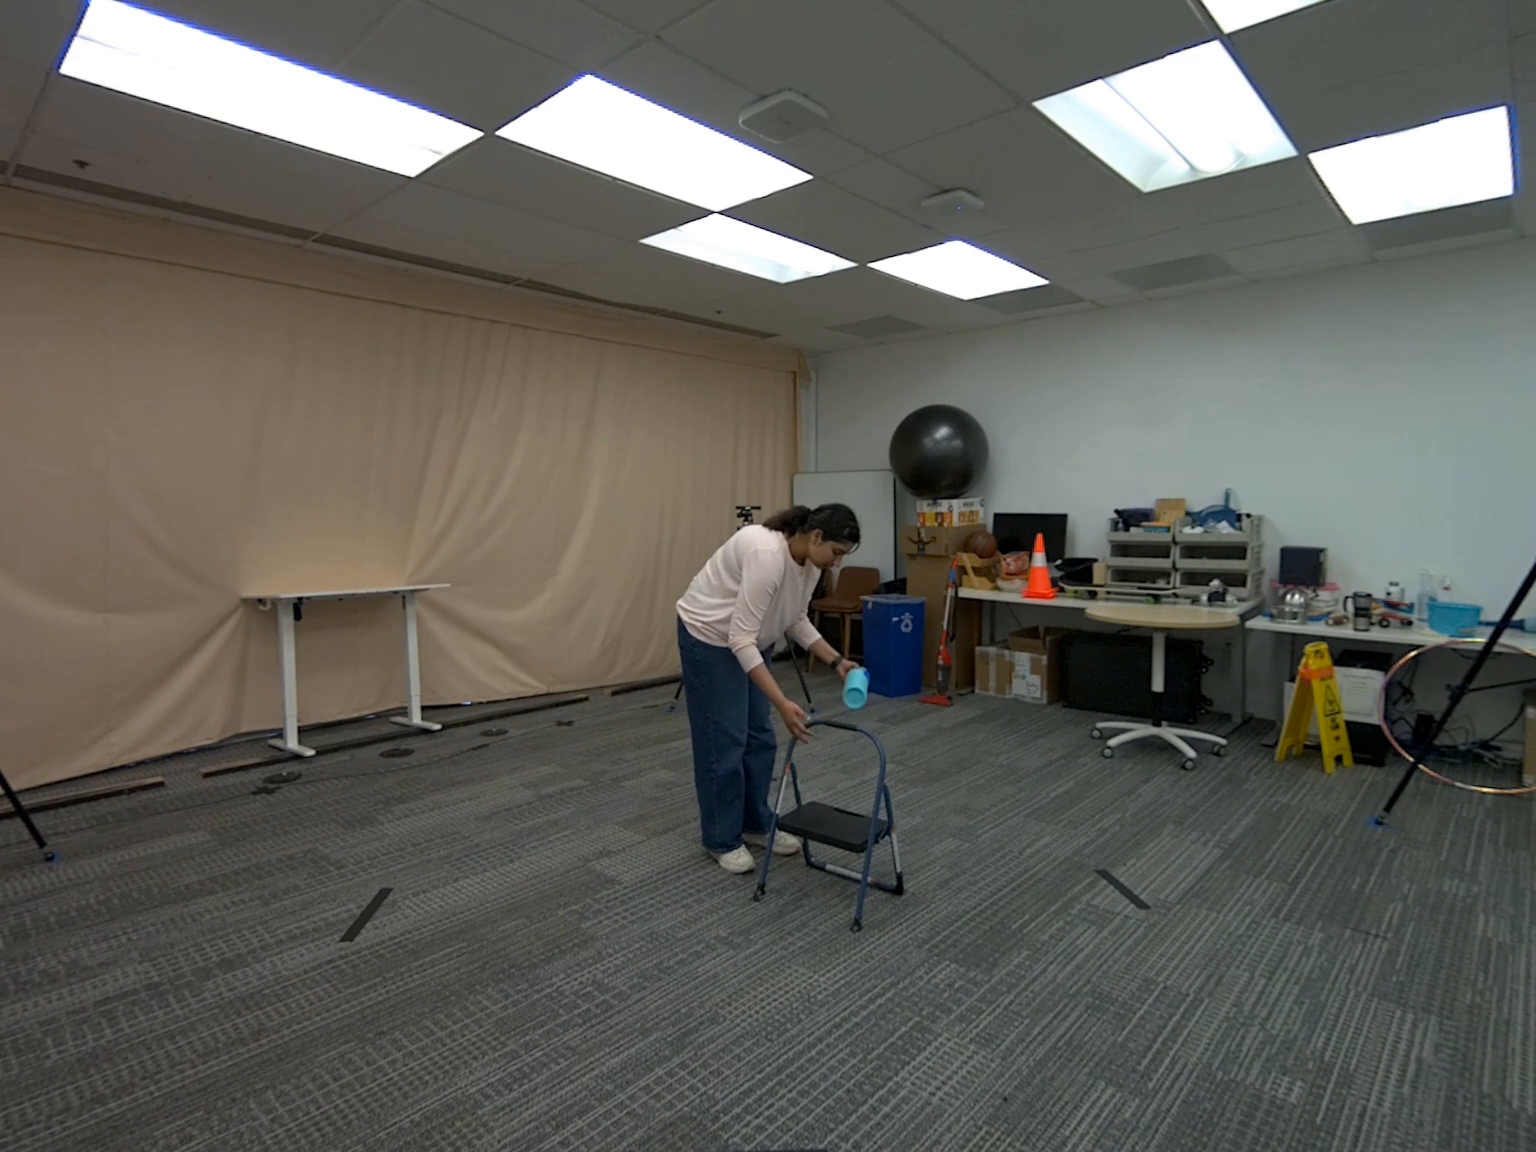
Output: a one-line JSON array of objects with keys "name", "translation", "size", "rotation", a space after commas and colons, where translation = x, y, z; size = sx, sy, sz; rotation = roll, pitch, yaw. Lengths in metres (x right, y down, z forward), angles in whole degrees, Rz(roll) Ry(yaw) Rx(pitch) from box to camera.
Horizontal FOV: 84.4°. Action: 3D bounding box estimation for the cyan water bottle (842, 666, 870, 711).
[{"name": "cyan water bottle", "translation": [0.341, 0.420, 3.226], "size": [0.093, 0.092, 0.282], "rotation": [0, 11, 10]}]
